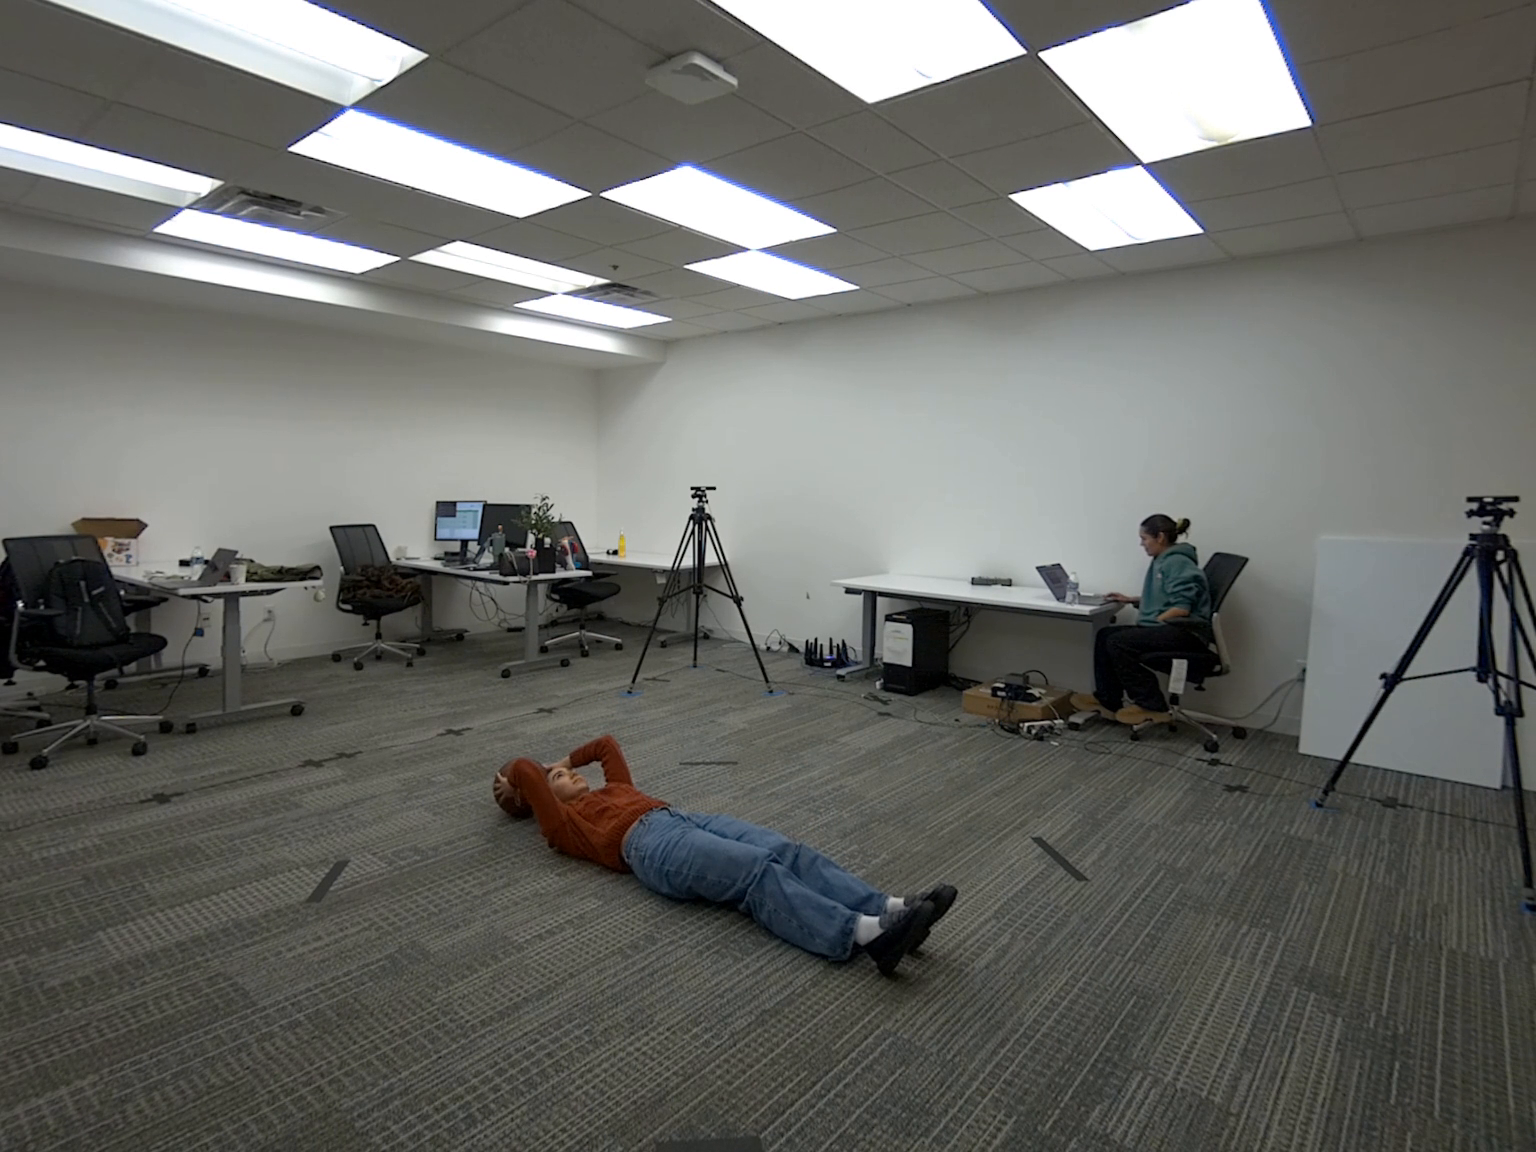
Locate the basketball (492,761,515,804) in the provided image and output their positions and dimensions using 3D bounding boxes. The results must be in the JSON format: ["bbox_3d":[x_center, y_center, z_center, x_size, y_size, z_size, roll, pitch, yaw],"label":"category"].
[{"bbox_3d":[-1.041,0.884,3.594,0.236,0.235,0.237,-3,3,-2],"label":"basketball"}]
